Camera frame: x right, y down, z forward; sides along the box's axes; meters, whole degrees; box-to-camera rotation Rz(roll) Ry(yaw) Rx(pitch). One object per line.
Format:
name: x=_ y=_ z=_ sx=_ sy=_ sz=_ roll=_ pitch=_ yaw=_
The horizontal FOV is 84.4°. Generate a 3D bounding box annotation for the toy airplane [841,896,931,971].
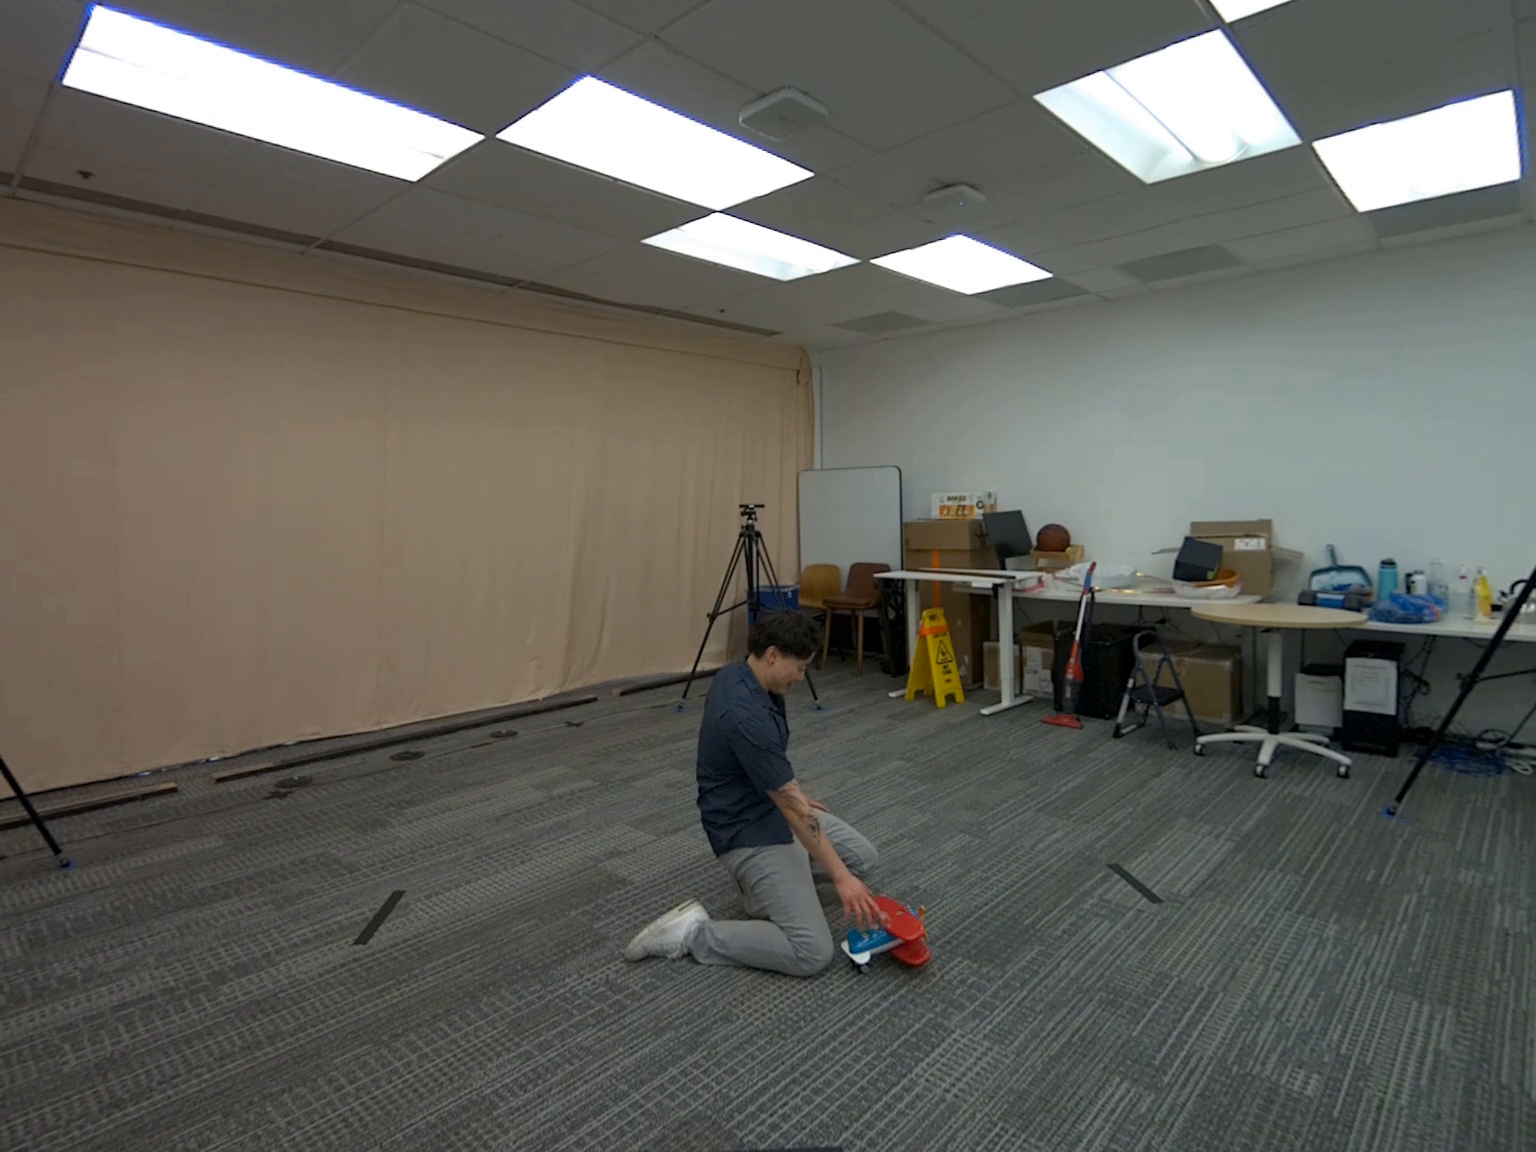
toy airplane: x=0.375 y=1.098 z=2.512 sx=0.259 sy=0.156 sz=0.251 roll=3 pitch=0 yaw=38
